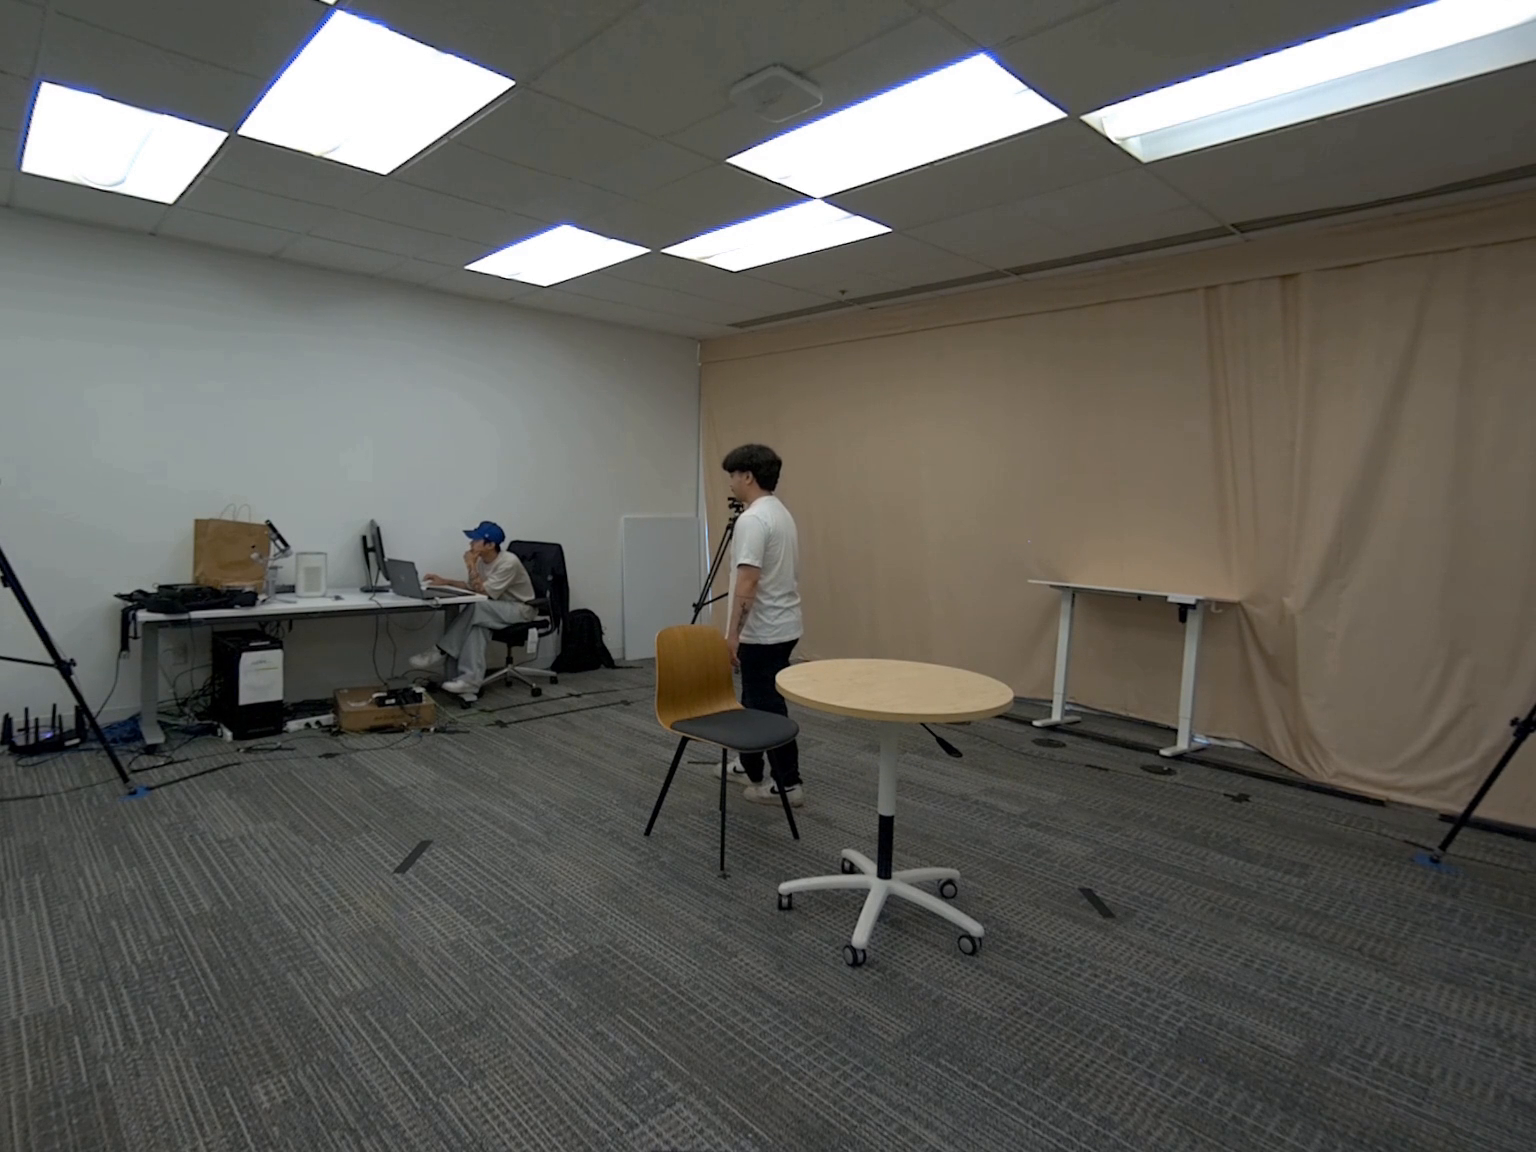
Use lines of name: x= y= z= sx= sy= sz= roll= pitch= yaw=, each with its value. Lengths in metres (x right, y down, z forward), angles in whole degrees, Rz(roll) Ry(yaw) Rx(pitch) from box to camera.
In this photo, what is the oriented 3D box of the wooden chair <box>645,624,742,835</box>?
wooden chair: x=-0.181 y=0.651 z=3.424 sx=0.535 sy=0.878 sz=0.467 roll=-2 pitch=-1 yaw=44
